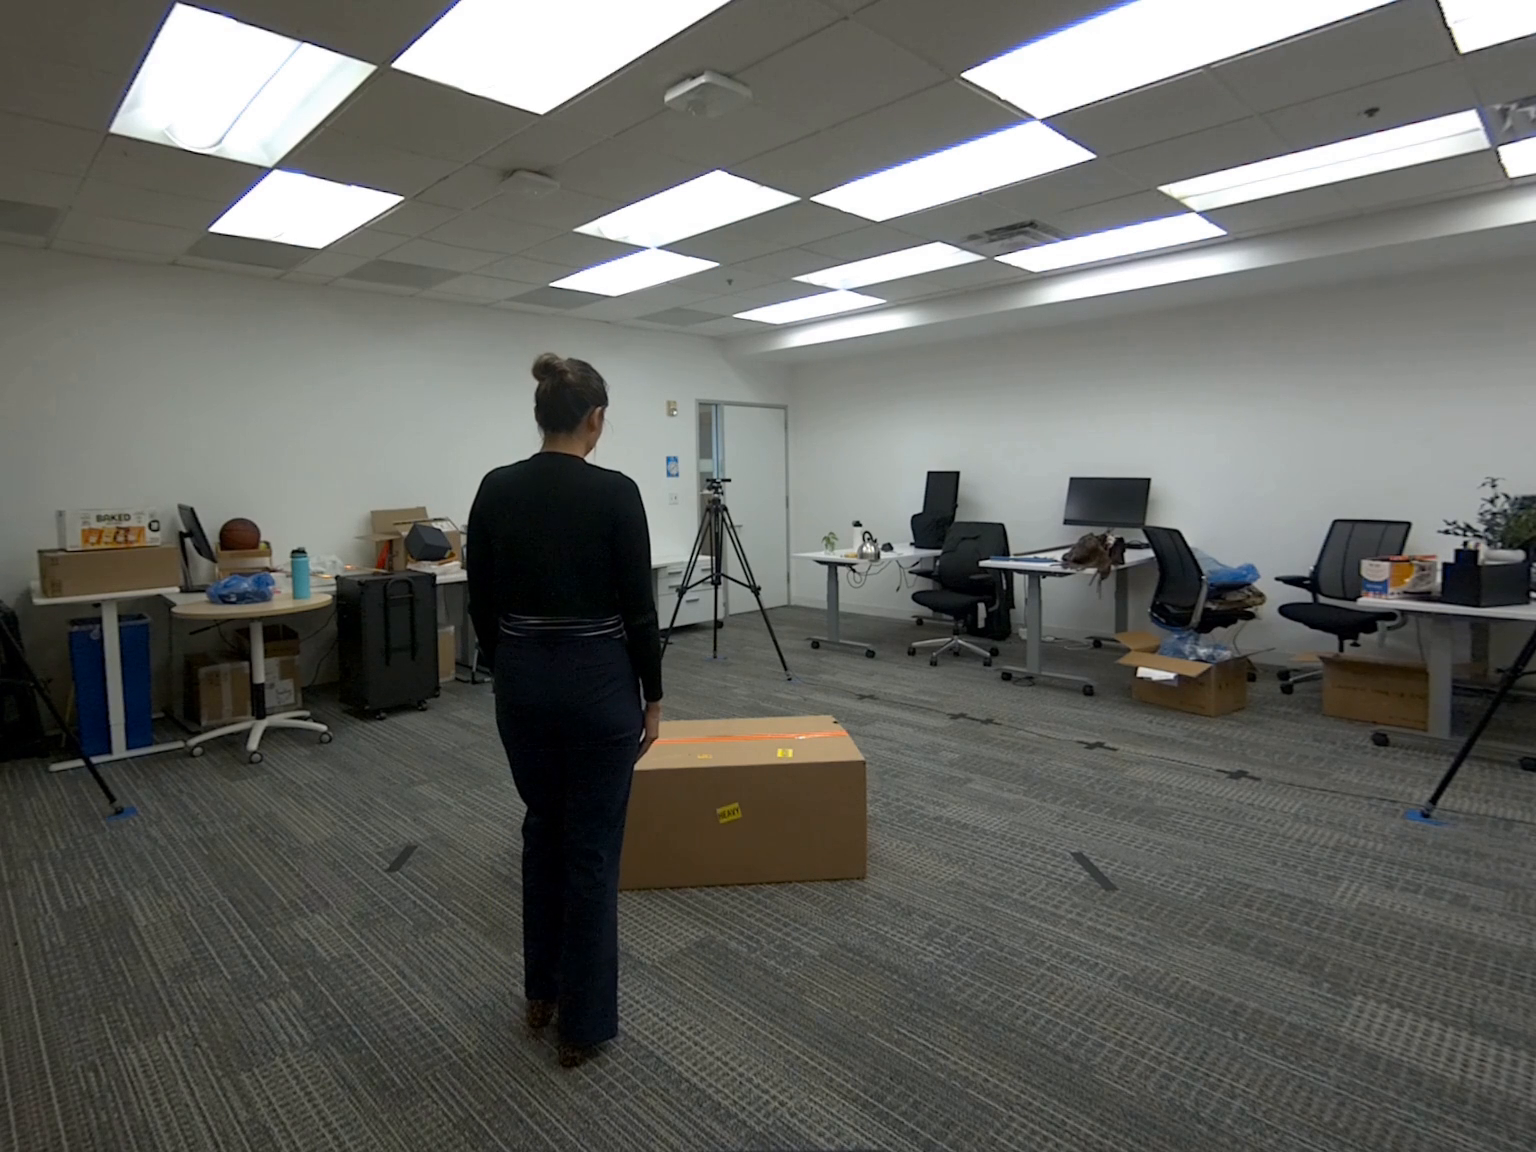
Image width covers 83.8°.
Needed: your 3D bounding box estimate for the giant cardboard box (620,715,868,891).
[{"bbox_3d":[-0.201,0.817,3.205,1.021,0.424,0.583,-2,6,-5],"label":"giant cardboard box"}]
